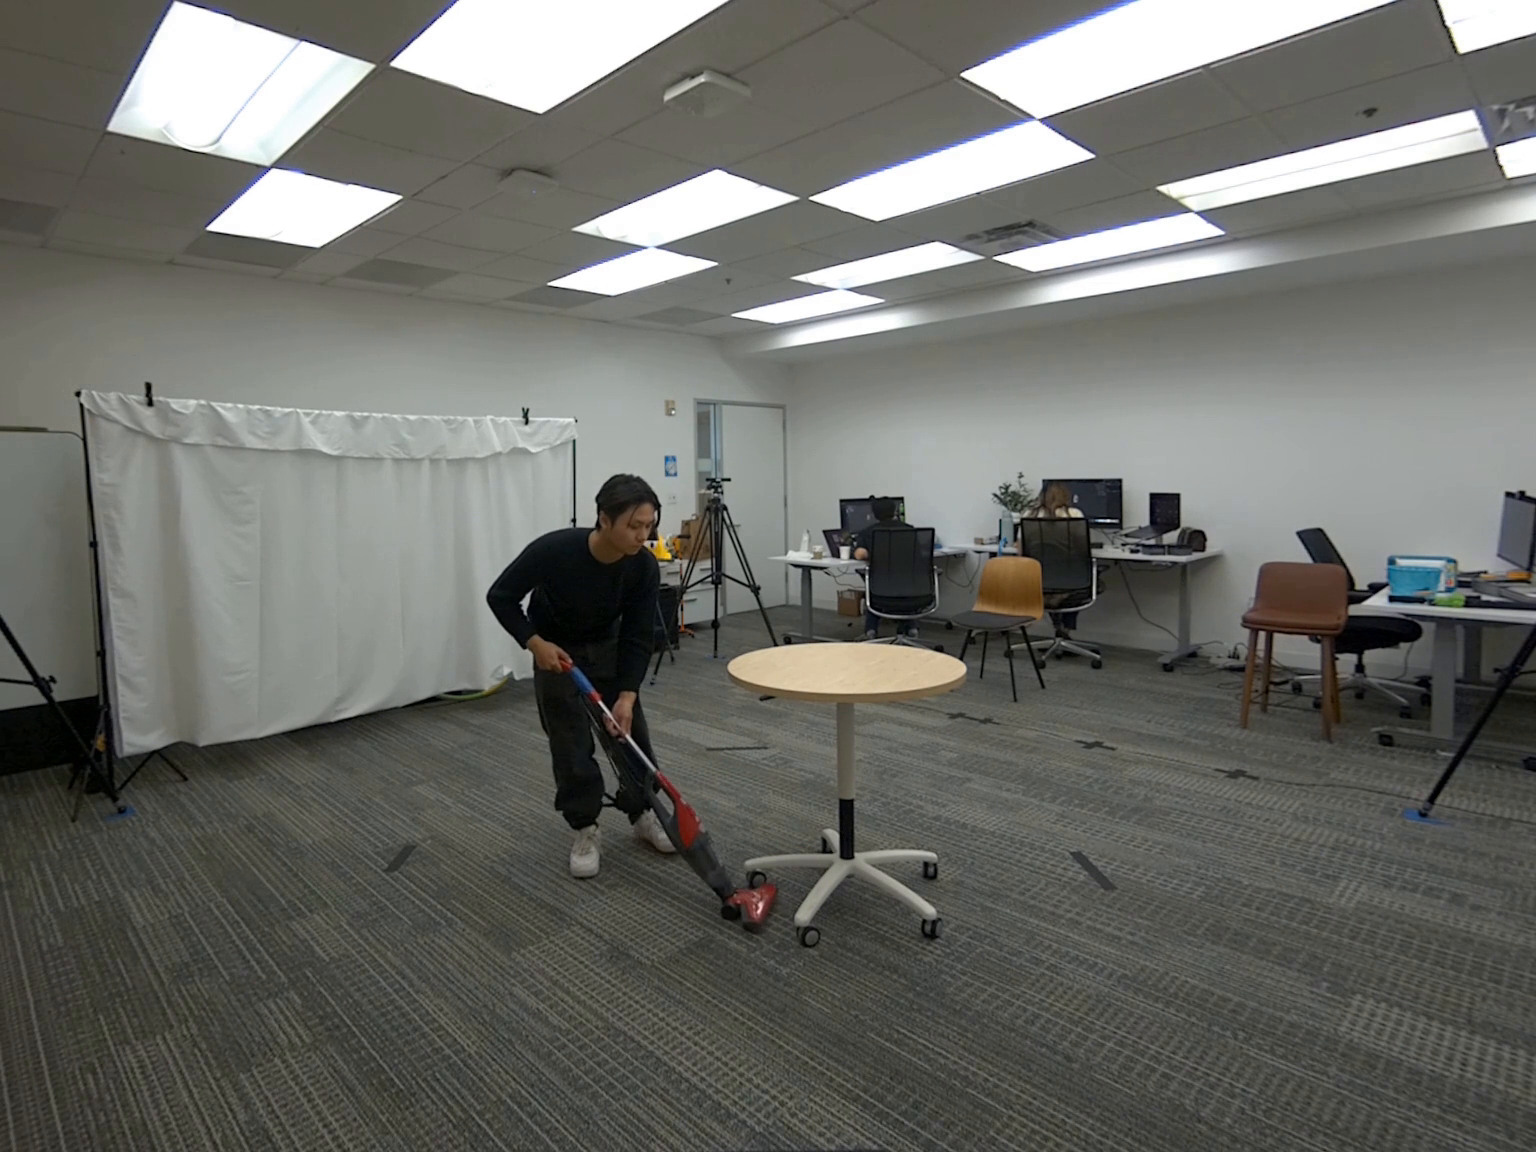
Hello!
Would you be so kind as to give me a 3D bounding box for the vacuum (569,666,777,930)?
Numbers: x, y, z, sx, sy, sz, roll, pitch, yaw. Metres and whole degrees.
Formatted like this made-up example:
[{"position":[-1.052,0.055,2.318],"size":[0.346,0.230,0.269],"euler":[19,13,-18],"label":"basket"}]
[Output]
[{"position":[-0.396,0.672,2.825],"size":[0.144,1.062,0.249],"euler":[-45,-9,20],"label":"vacuum"}]
